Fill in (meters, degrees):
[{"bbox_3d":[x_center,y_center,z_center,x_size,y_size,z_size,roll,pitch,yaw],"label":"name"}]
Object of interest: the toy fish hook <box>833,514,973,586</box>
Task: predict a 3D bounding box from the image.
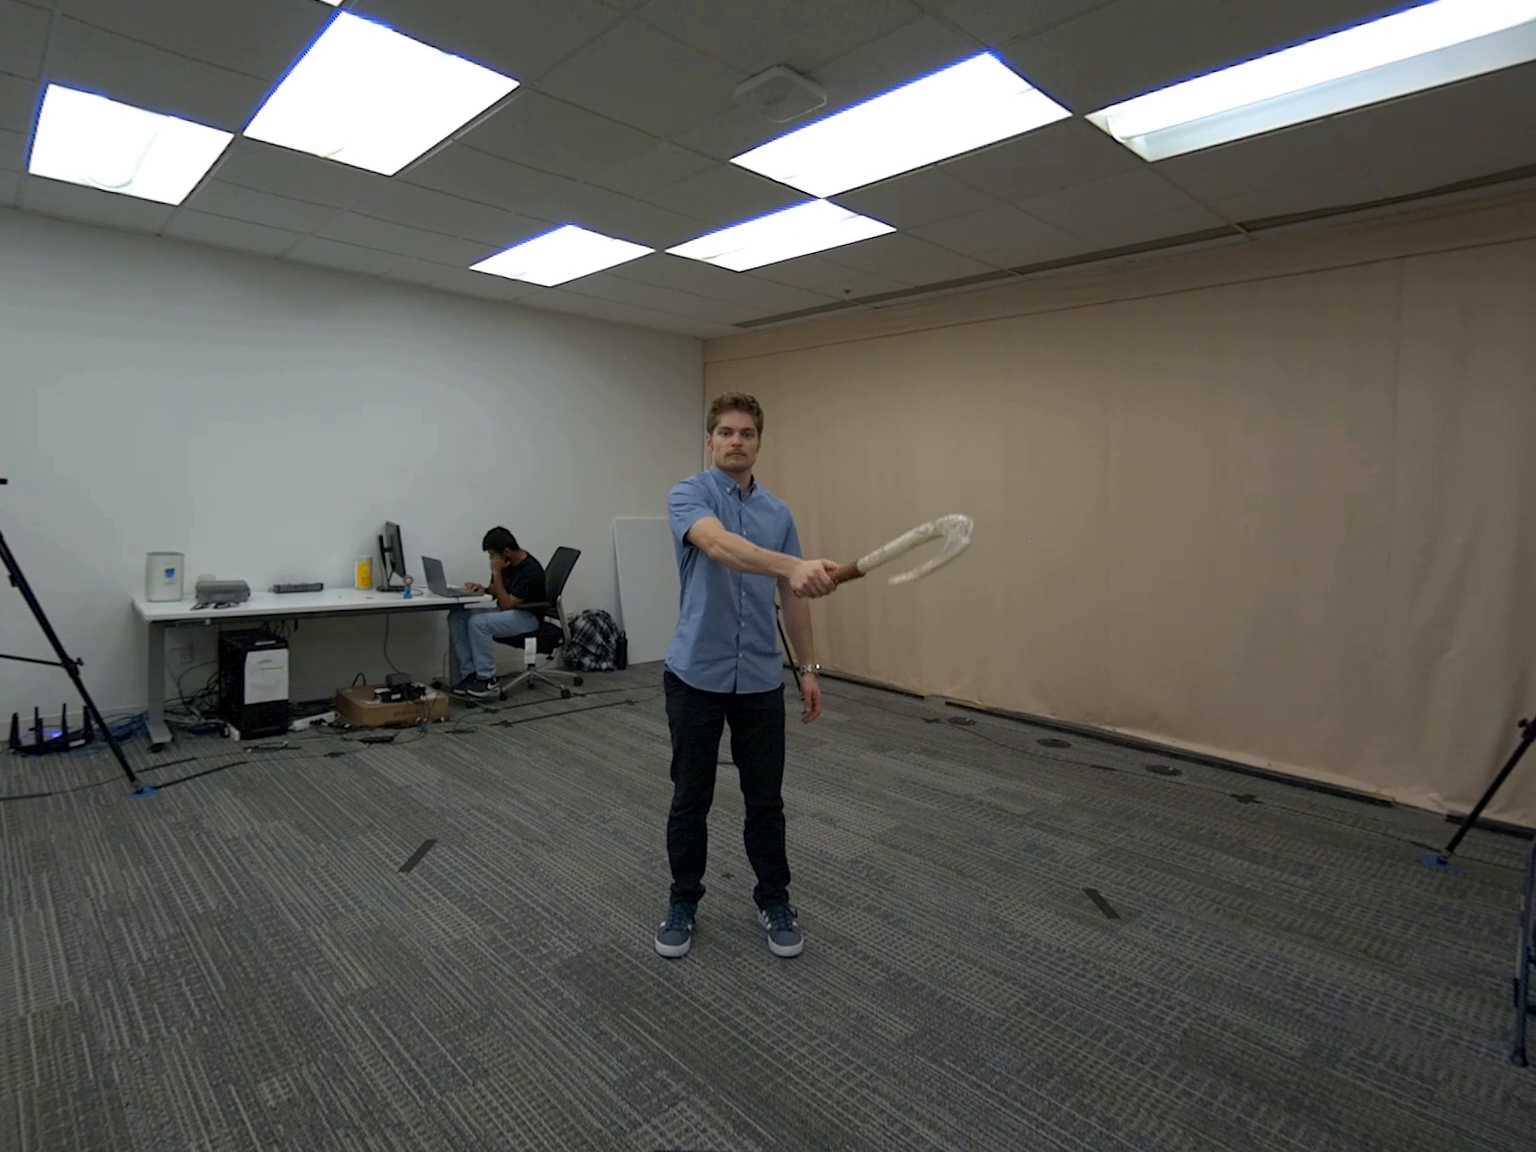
[{"bbox_3d":[0.244,-0.022,1.990,0.512,0.047,0.225,-25,18,34],"label":"toy fish hook"}]
